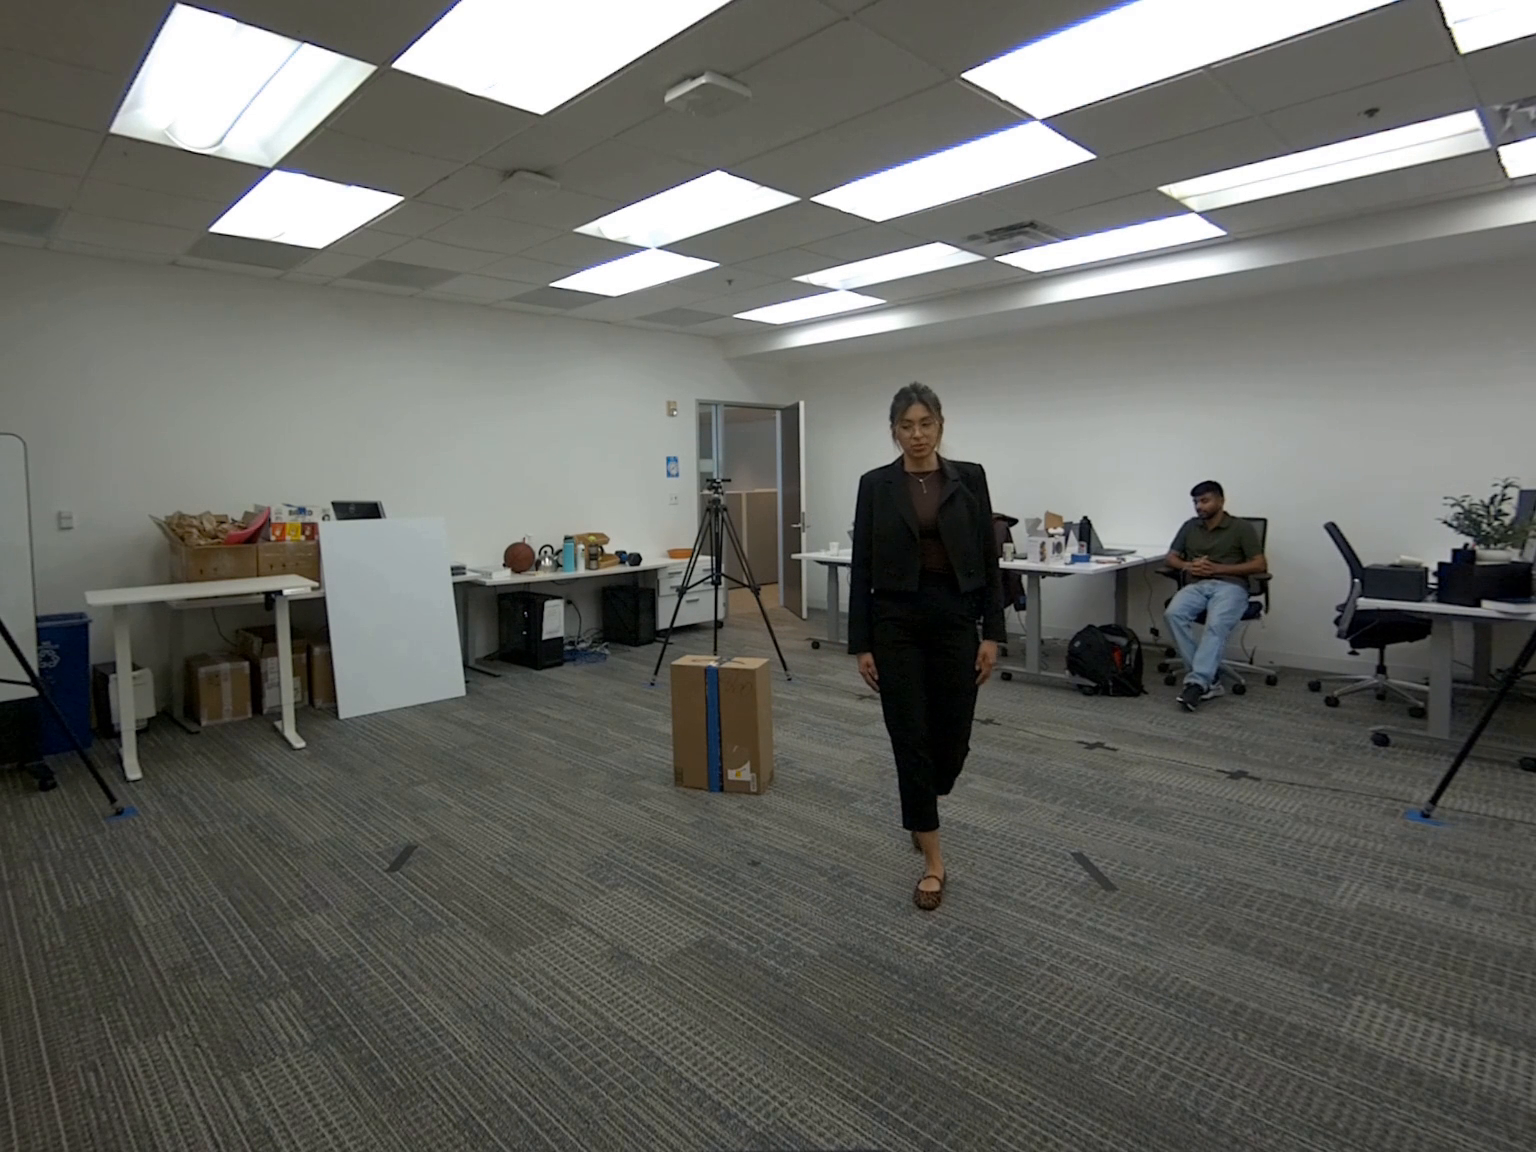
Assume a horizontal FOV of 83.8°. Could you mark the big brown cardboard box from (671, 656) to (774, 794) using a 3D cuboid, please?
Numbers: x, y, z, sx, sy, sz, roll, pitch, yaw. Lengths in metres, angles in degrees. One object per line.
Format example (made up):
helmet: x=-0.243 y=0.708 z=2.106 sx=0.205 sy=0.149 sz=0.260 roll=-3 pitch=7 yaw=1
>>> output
big brown cardboard box: x=-0.212 y=0.677 z=3.929 sx=0.425 sy=0.588 sz=0.229 roll=-1 pitch=3 yaw=19
